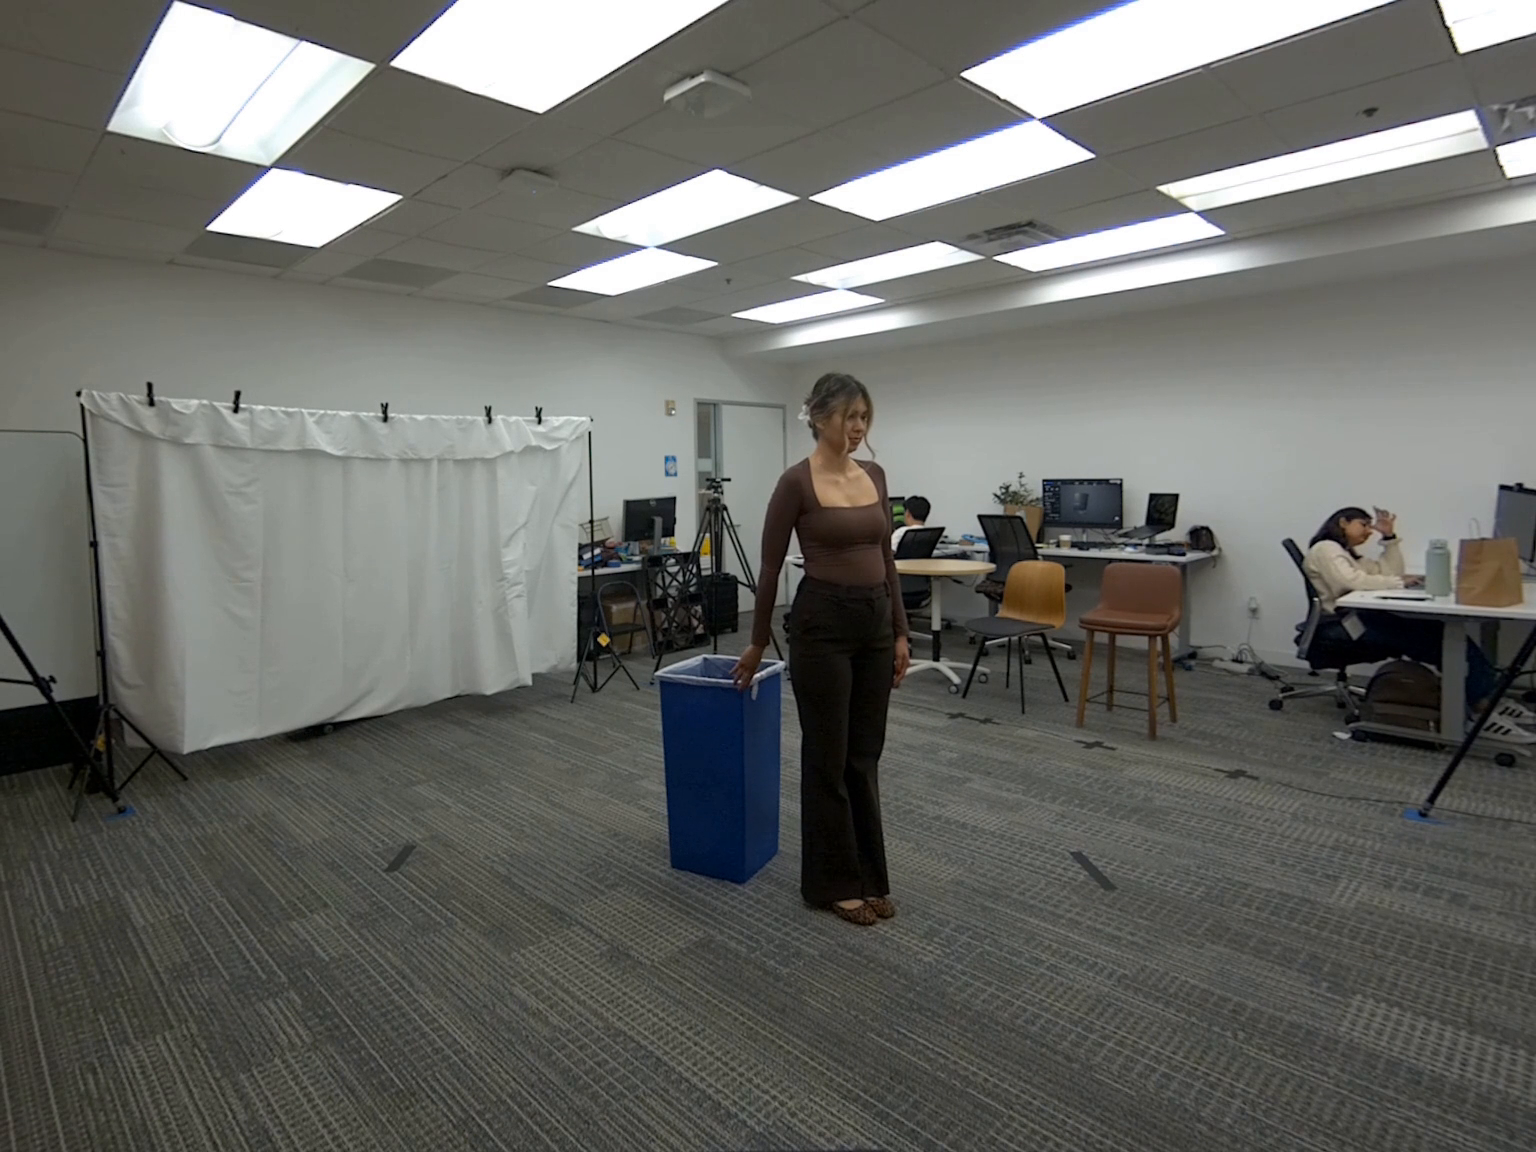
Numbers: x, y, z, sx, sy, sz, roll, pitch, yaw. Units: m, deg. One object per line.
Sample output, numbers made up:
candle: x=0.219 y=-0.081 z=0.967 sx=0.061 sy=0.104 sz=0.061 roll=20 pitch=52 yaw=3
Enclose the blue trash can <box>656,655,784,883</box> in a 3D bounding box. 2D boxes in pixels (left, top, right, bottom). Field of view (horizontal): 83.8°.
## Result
blue trash can: x=-0.157 y=0.683 z=3.115 sx=0.387 sy=0.712 sz=0.366 roll=1 pitch=3 yaw=26
